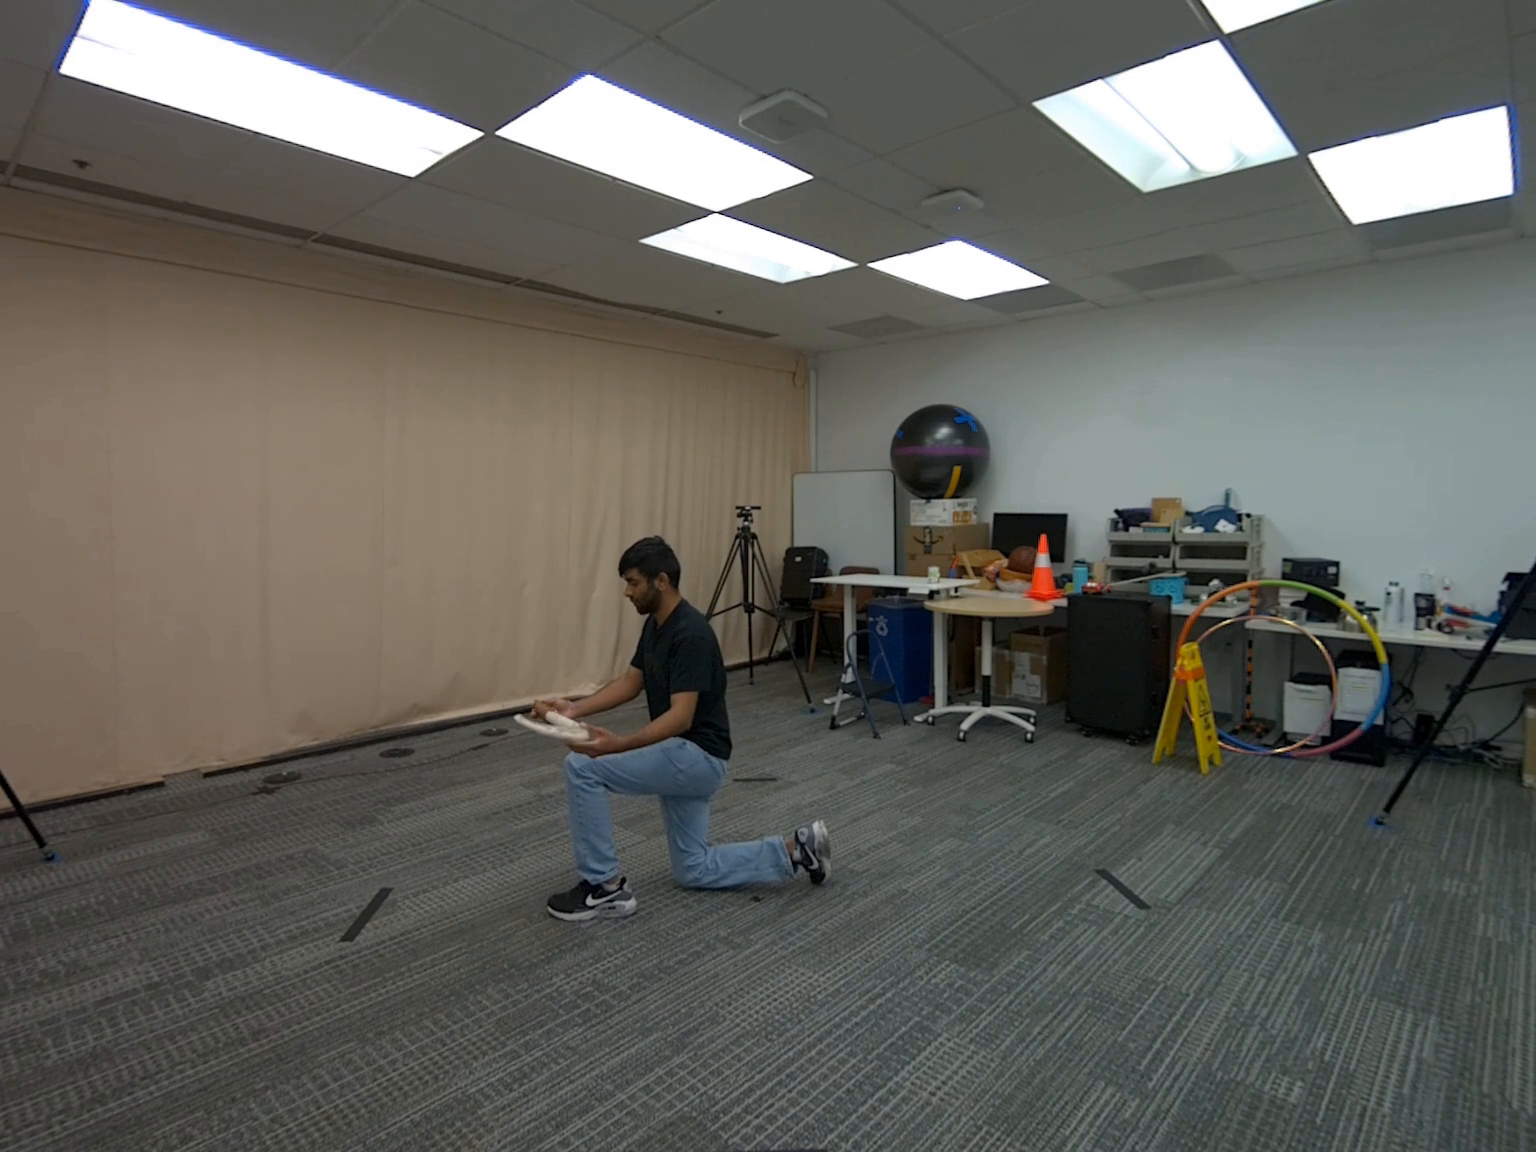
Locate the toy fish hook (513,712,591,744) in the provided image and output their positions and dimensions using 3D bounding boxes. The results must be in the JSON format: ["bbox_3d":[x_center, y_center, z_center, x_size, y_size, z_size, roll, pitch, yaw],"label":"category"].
[{"bbox_3d":[-0.713,0.450,2.701,0.218,0.048,0.520,23,-9,-28],"label":"toy fish hook"}]
